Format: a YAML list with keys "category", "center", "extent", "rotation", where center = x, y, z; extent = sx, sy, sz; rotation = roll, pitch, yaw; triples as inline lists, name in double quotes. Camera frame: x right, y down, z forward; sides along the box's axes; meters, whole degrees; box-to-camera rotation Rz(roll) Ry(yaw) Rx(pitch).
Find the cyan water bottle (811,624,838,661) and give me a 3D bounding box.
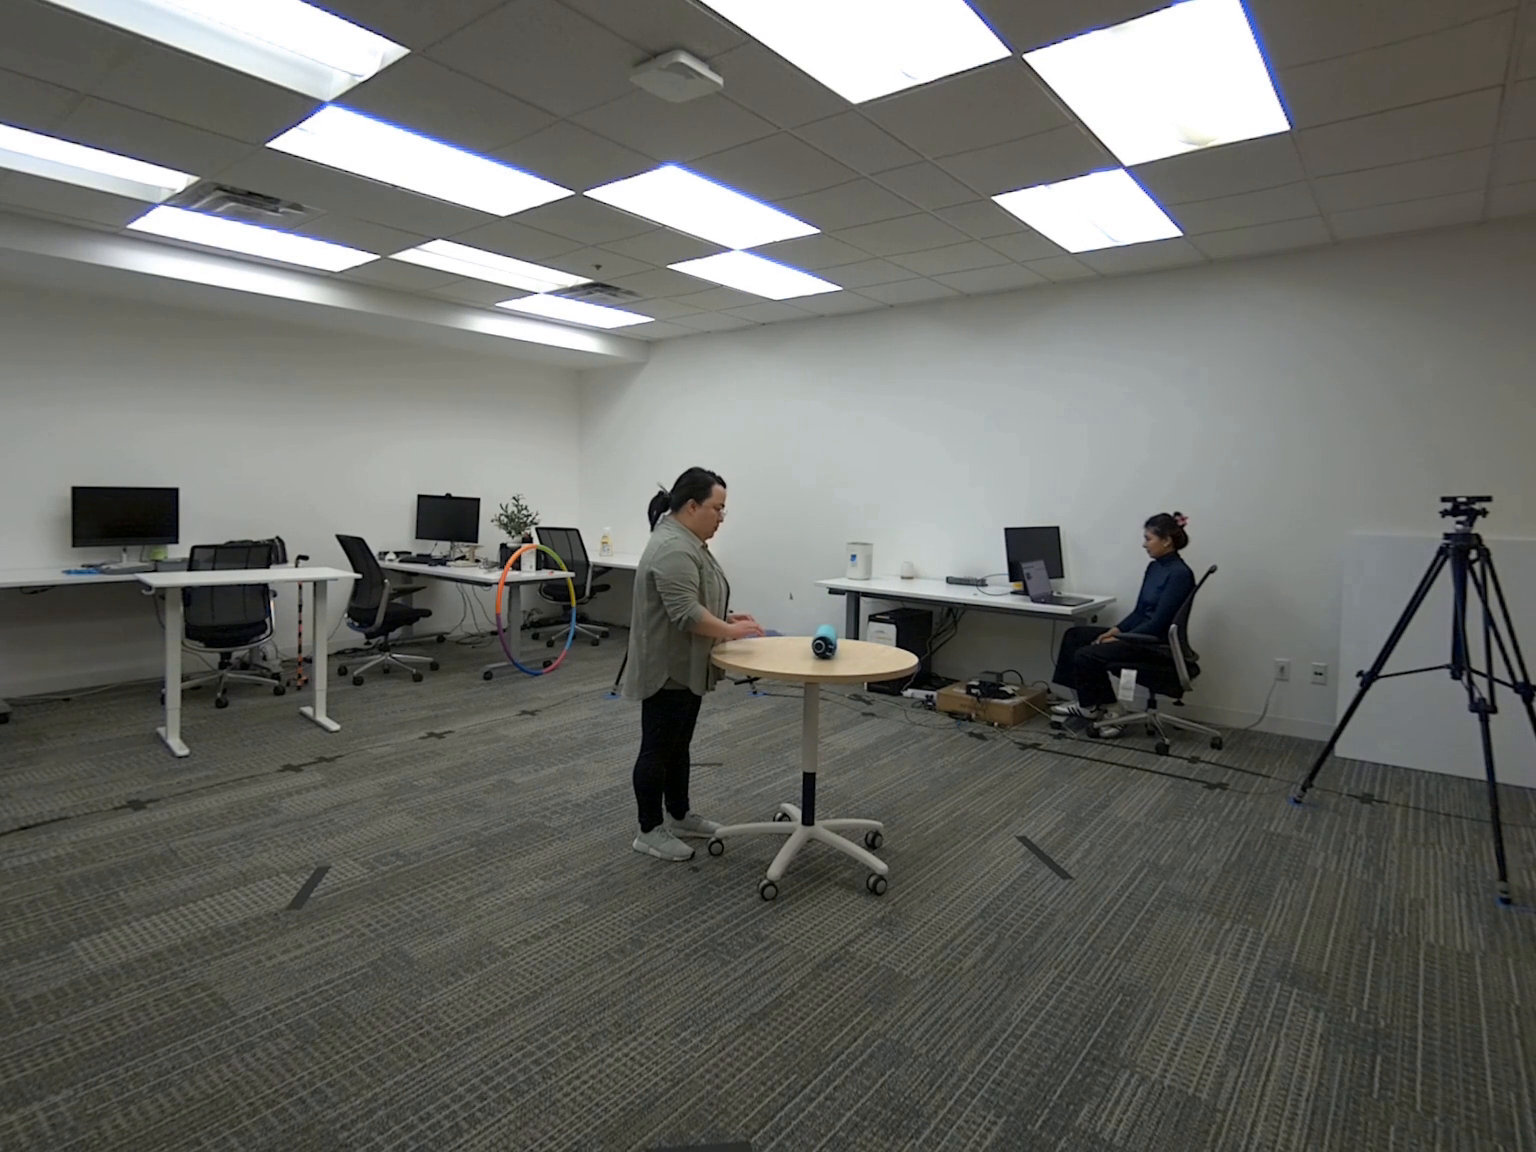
- category: "cyan water bottle"
  center: [0.201, 0.241, 3.166]
  extent: [0.093, 0.092, 0.283]
  rotation: [1, 6, 5]
